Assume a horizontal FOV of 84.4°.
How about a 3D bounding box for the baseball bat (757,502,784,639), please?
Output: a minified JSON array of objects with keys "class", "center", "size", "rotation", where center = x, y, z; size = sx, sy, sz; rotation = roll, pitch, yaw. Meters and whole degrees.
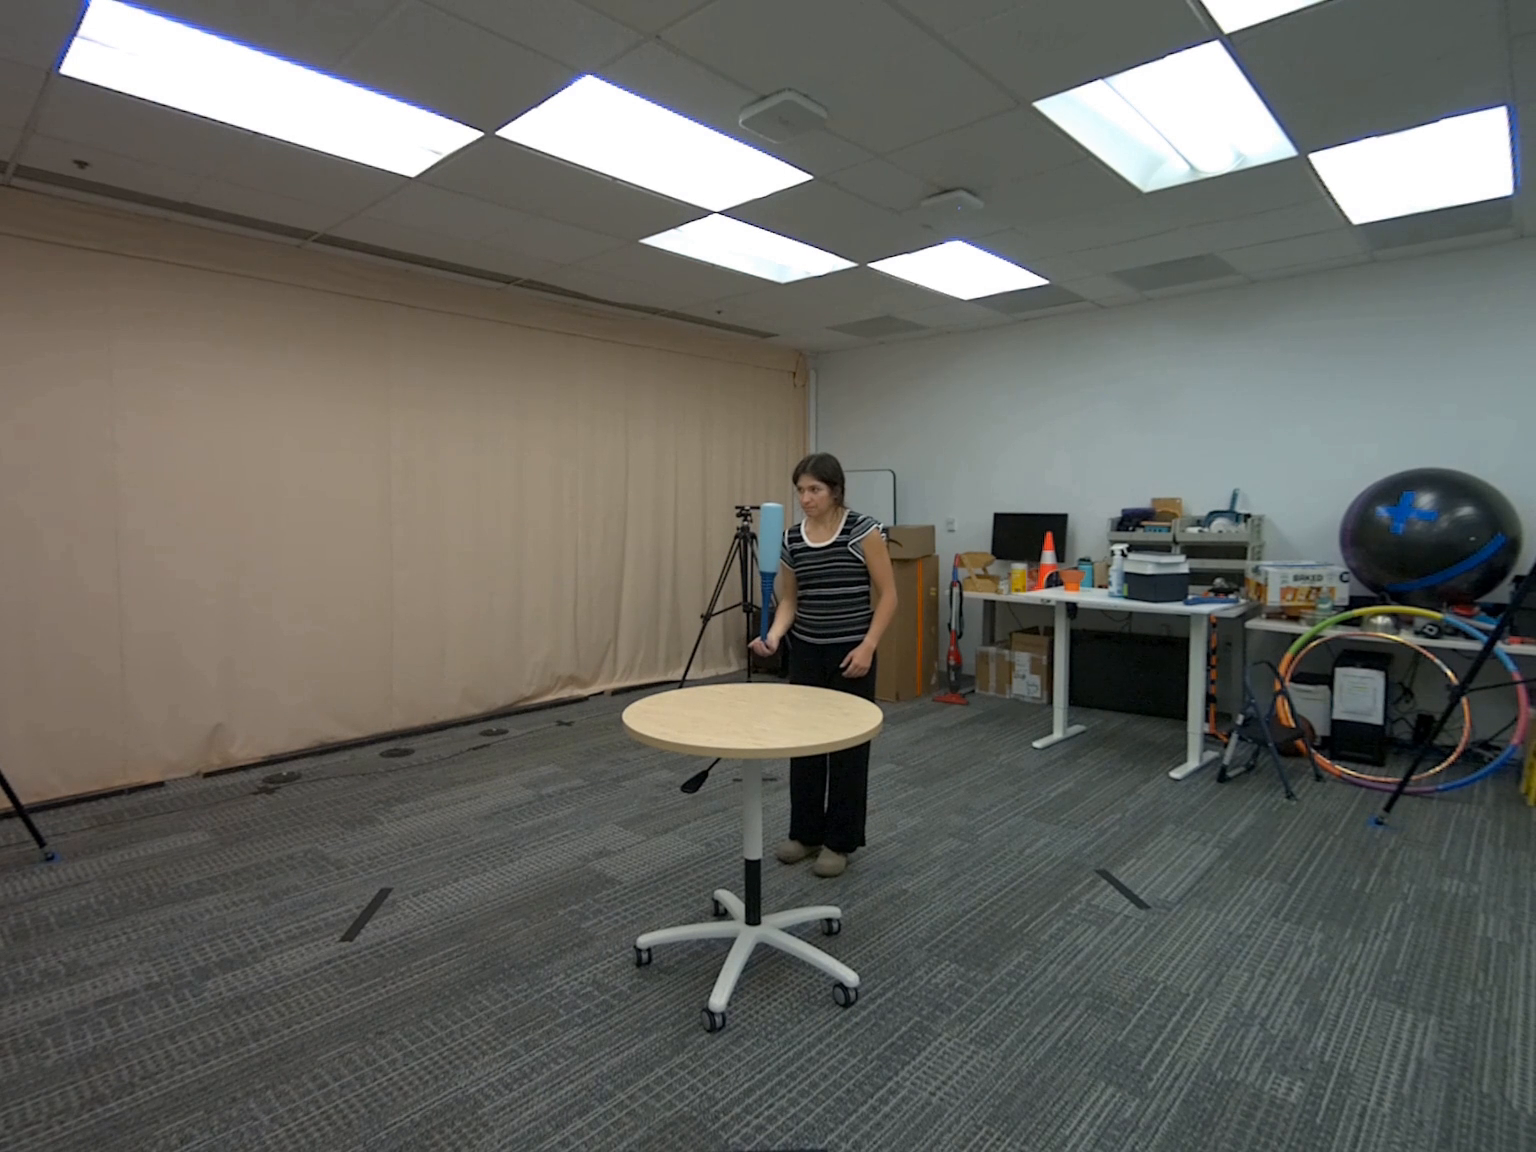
[{"class":"baseball bat","center":[0.012,0.005,3.119],"size":[0.089,0.541,0.089],"rotation":[2,4,-2]}]
